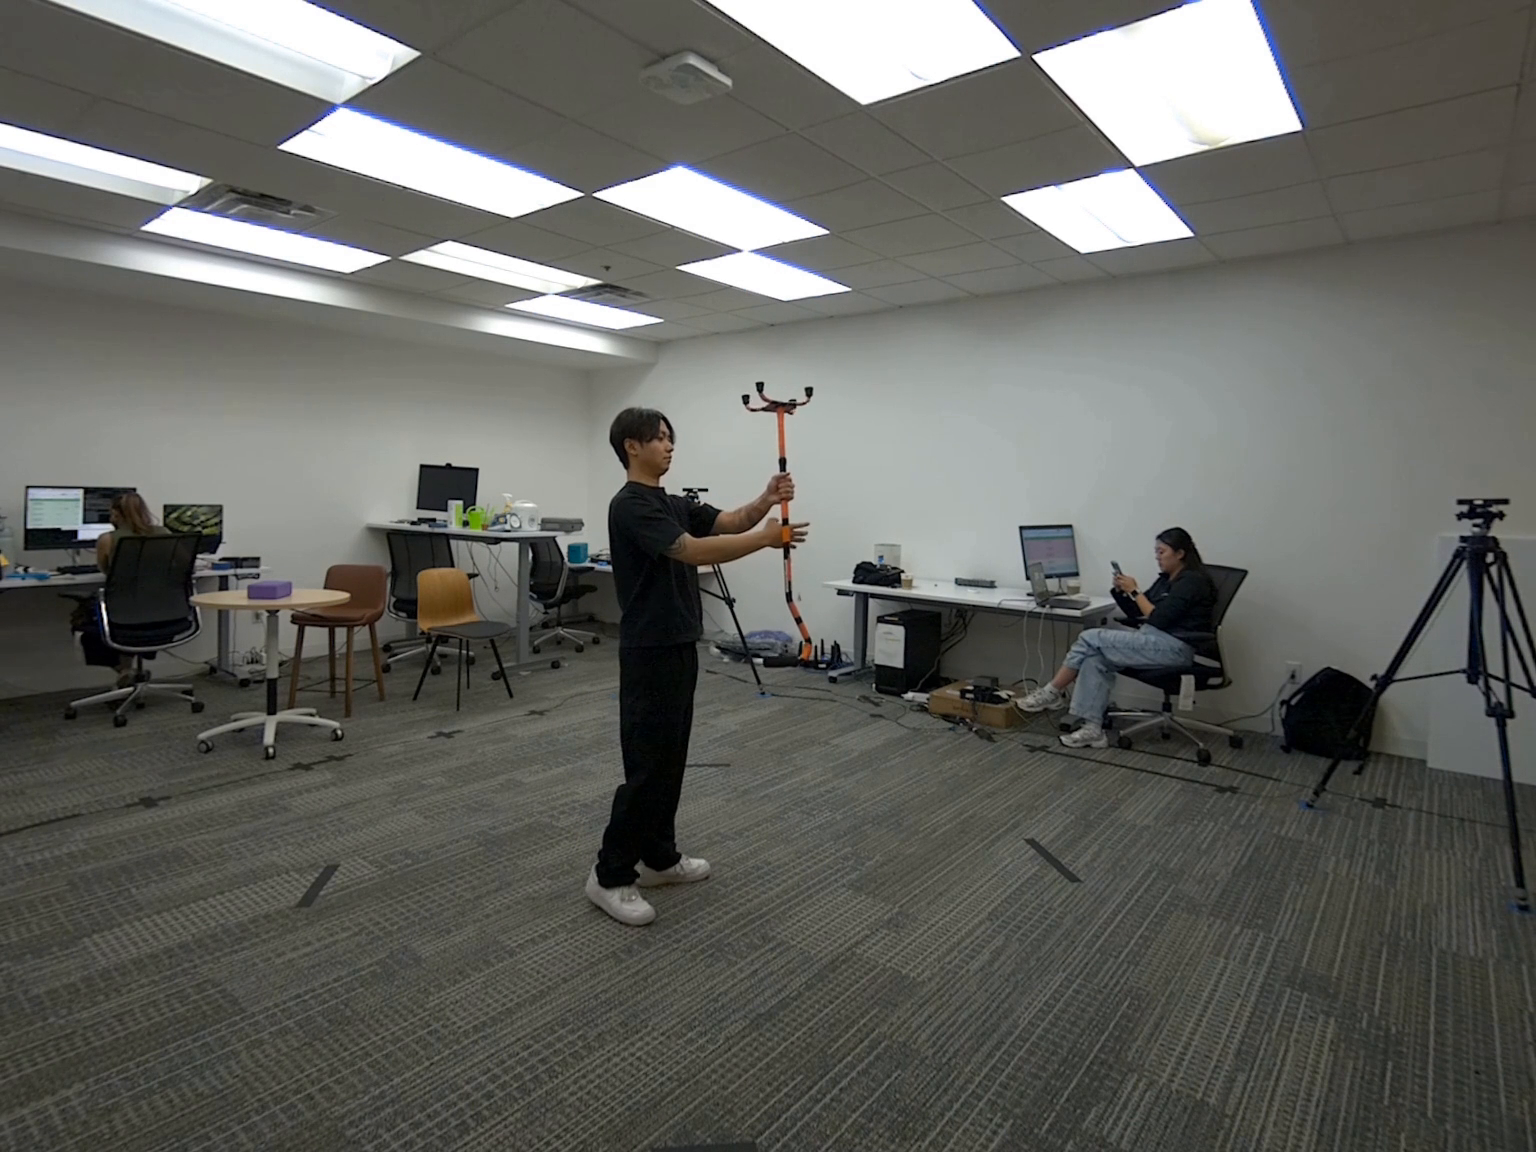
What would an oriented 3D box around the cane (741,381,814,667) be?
[{"bbox_3d":[0.047,-0.171,2.755,0.202,0.918,0.153,1,-11,-21],"label":"cane"}]
